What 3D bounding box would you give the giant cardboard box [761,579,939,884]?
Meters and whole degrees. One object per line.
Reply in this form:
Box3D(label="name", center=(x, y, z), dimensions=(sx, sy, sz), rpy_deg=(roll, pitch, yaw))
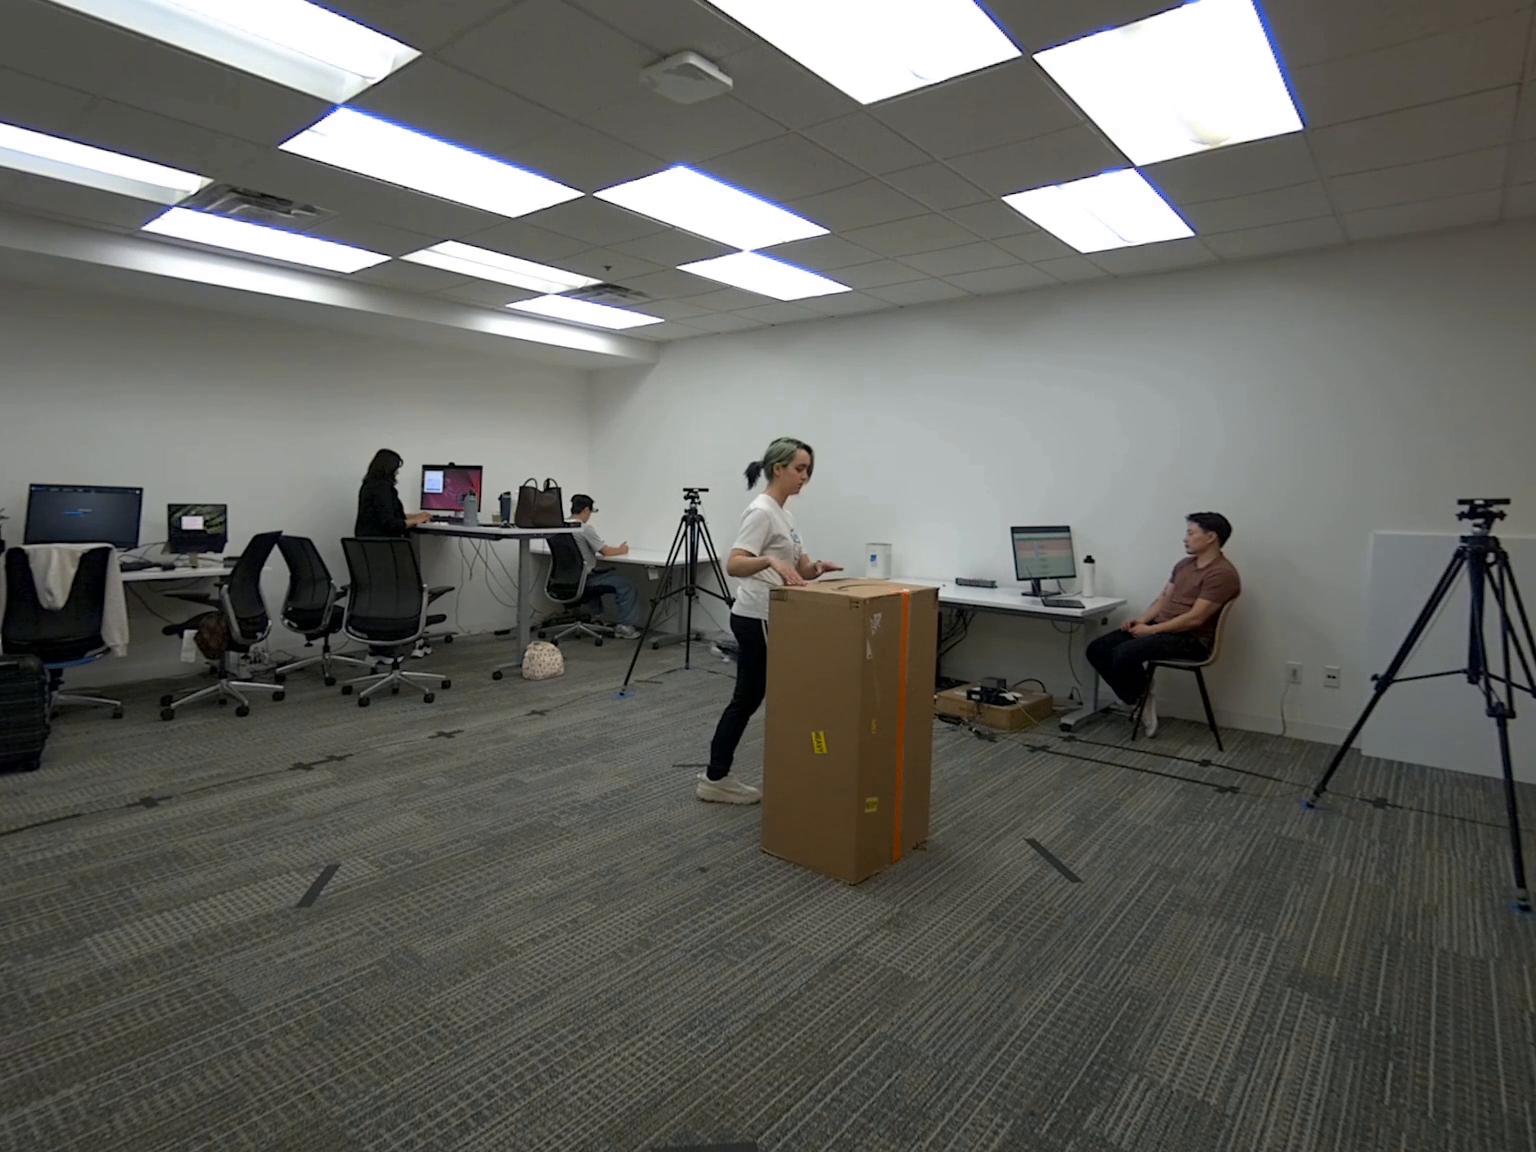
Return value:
Box3D(label="giant cardboard box", center=(0.324, 0.552, 3.326), dimensions=(0.461, 1.025, 0.566), rpy_deg=(3, 3, 38))
